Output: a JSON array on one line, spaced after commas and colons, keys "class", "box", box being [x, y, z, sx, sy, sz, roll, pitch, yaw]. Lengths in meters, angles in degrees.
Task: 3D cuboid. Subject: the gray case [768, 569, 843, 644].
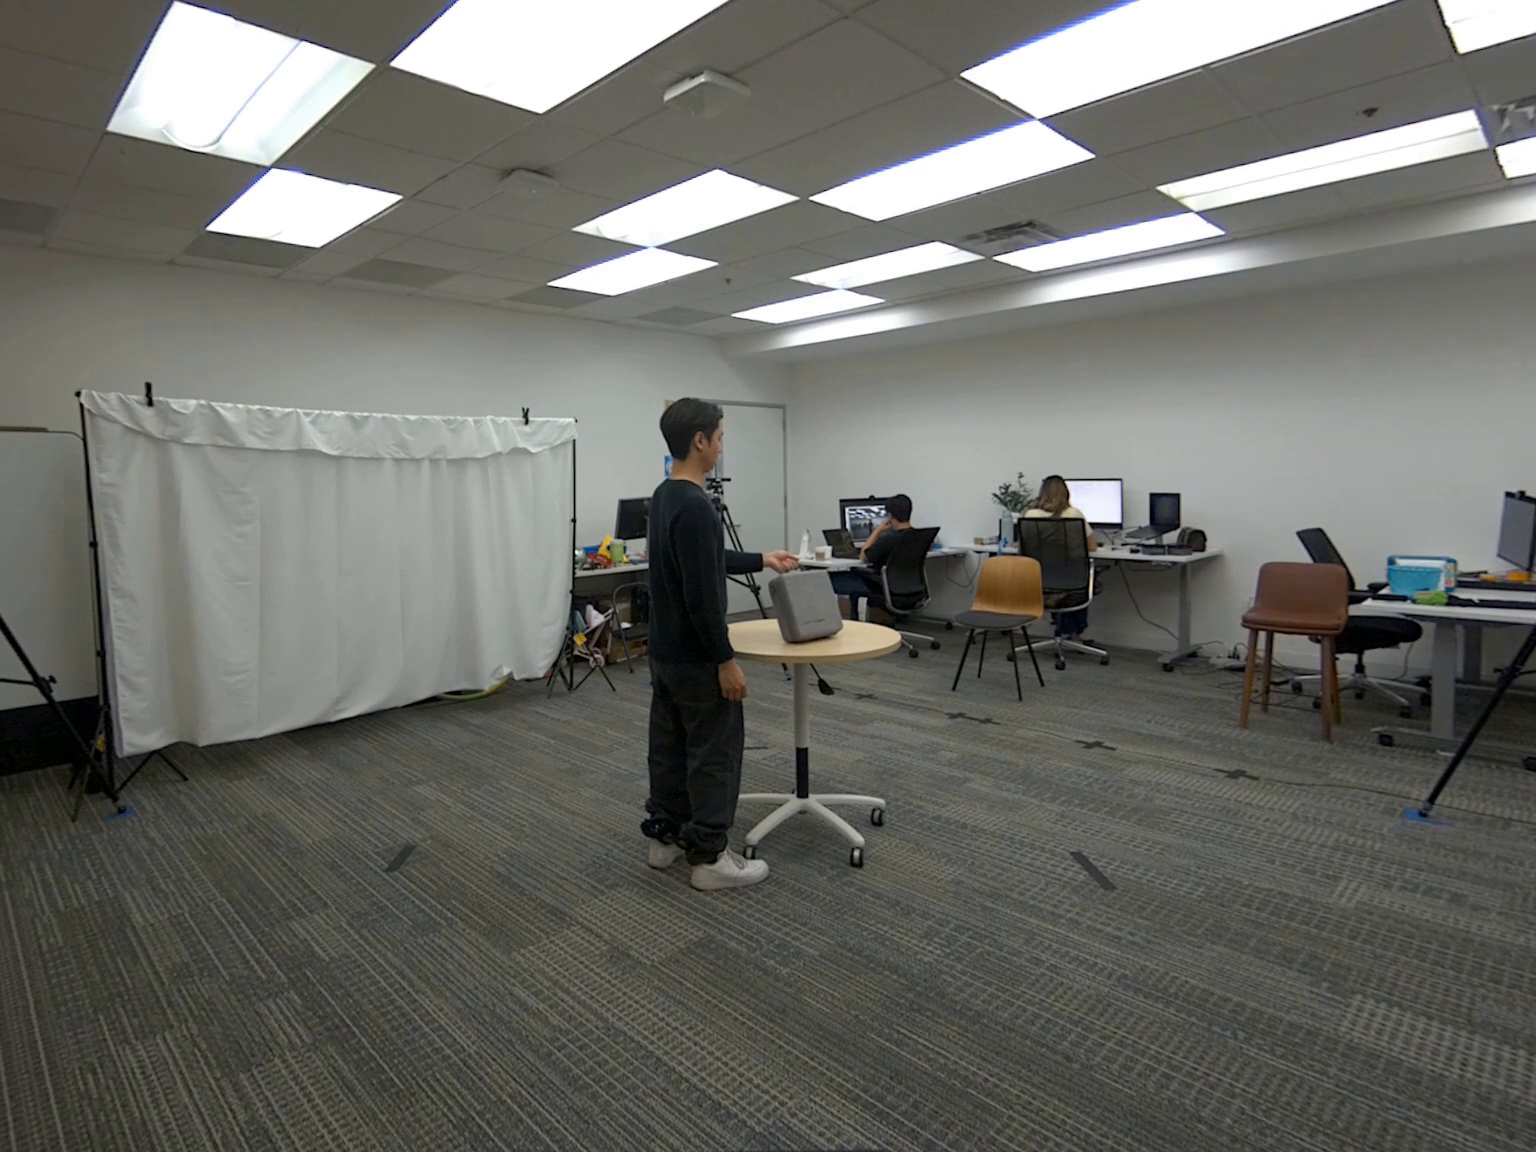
[{"class": "gray case", "box": [0.141, 0.108, 3.243, 0.250, 0.264, 0.105, -5, -15, -40]}]
